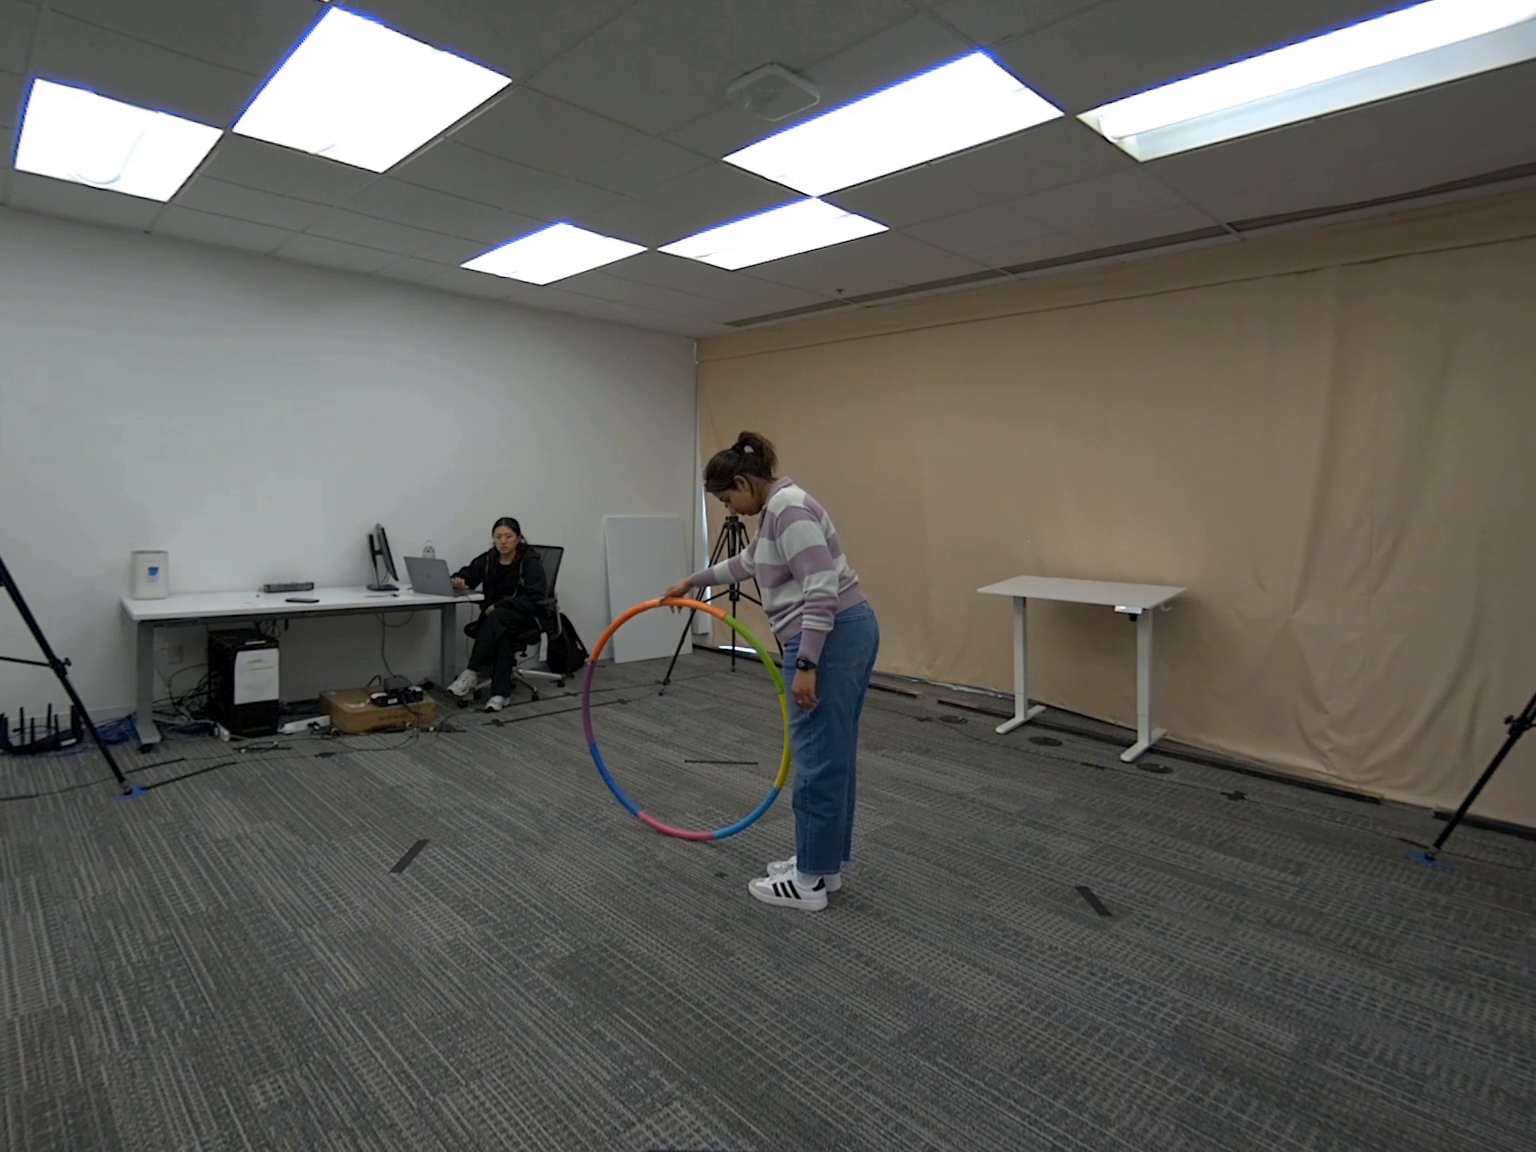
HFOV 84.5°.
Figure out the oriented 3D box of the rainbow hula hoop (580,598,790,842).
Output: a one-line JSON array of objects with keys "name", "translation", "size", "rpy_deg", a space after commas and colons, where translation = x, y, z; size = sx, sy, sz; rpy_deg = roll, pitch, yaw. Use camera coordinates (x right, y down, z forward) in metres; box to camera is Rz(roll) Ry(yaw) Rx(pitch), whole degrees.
[{"name": "rainbow hula hoop", "translation": [-0.362, 0.579, 3.412], "size": [0.999, 0.975, 0.035], "rpy_deg": [4, 5, 27]}]
